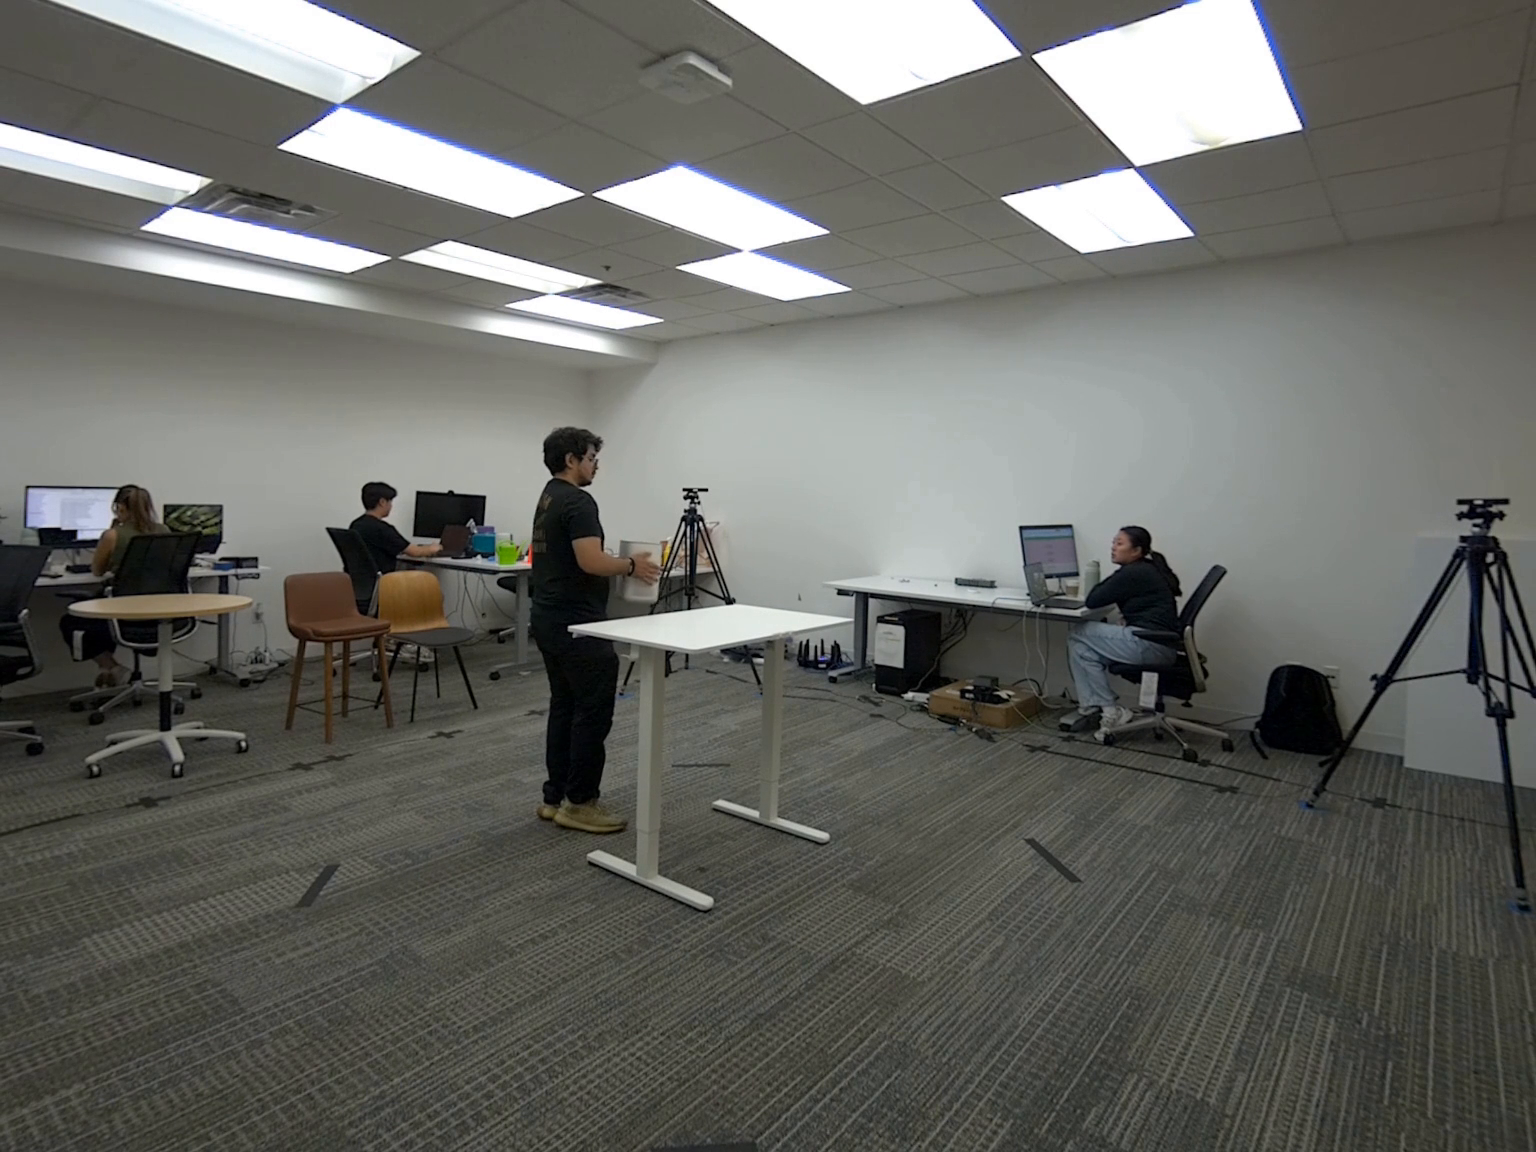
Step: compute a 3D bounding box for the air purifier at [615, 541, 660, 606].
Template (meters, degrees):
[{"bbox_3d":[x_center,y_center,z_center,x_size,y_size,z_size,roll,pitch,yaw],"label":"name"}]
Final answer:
[{"bbox_3d":[-0.580,-0.018,3.690,0.167,0.265,0.175,4,0,-23],"label":"air purifier"}]
